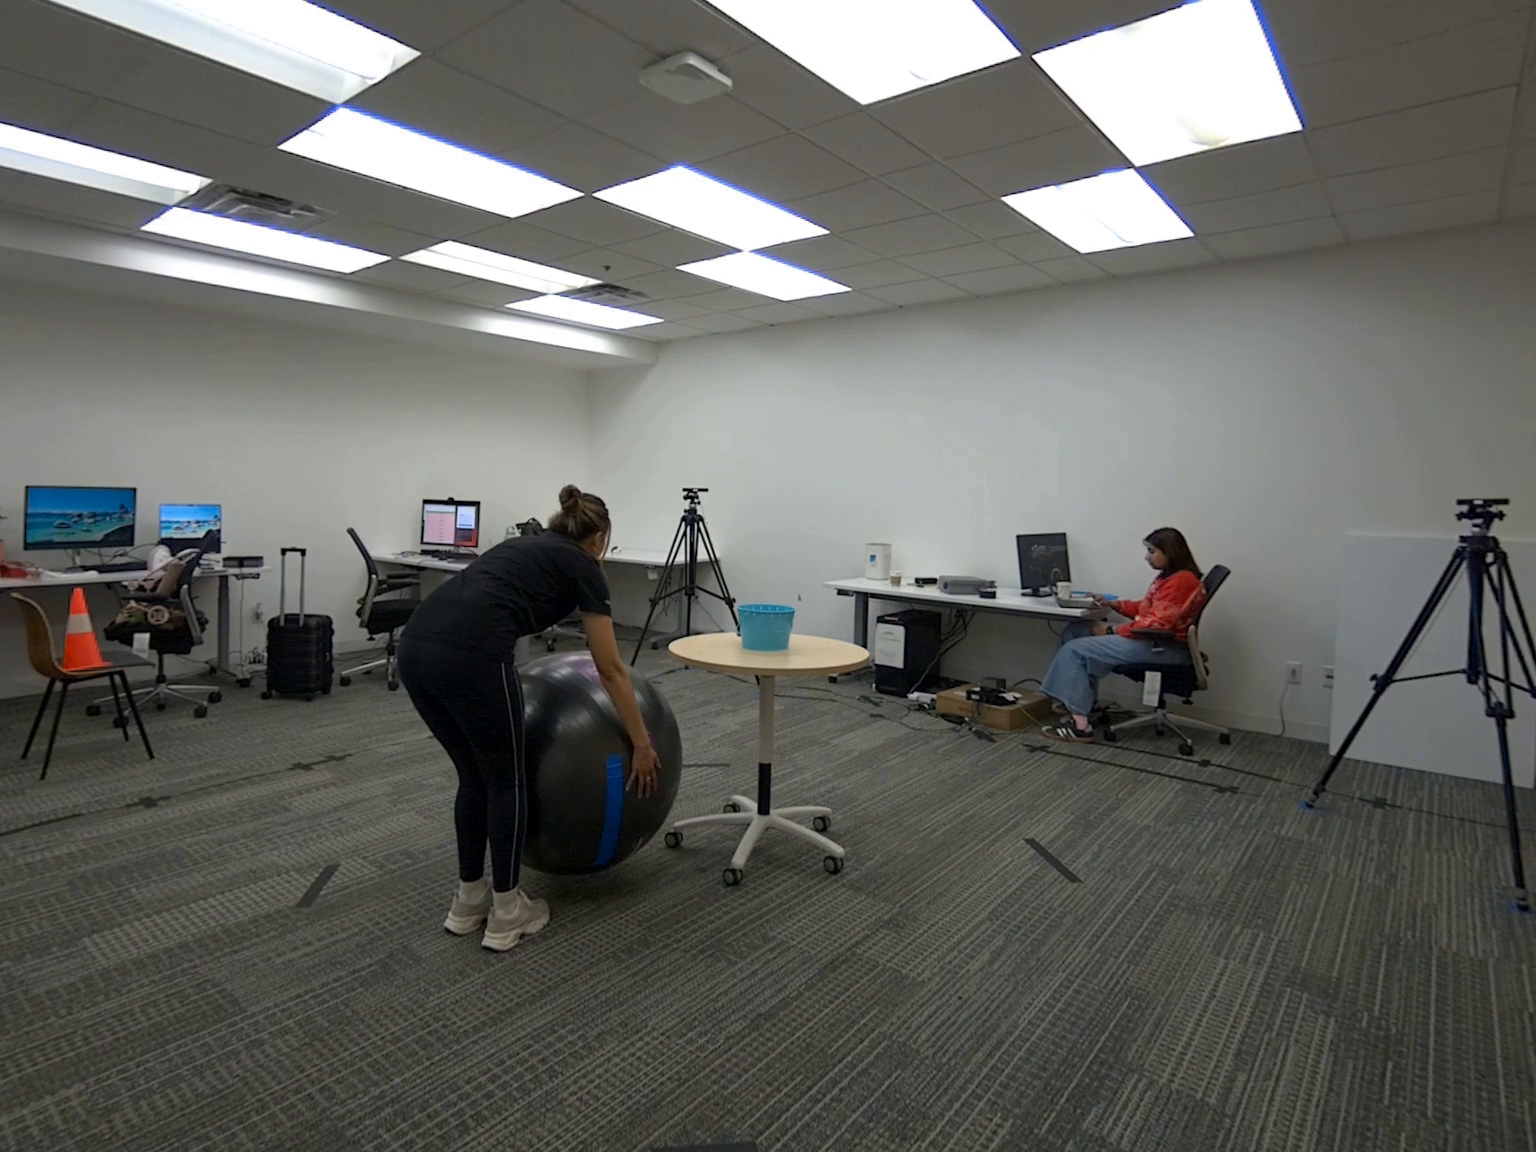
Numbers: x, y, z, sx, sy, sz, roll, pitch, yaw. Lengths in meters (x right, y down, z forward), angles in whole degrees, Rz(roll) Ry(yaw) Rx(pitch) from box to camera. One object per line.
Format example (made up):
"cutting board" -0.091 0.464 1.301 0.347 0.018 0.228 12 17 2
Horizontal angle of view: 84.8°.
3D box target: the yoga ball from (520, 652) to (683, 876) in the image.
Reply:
"yoga ball" -0.688 0.643 3.011 0.757 0.756 0.762 1 4 -2
